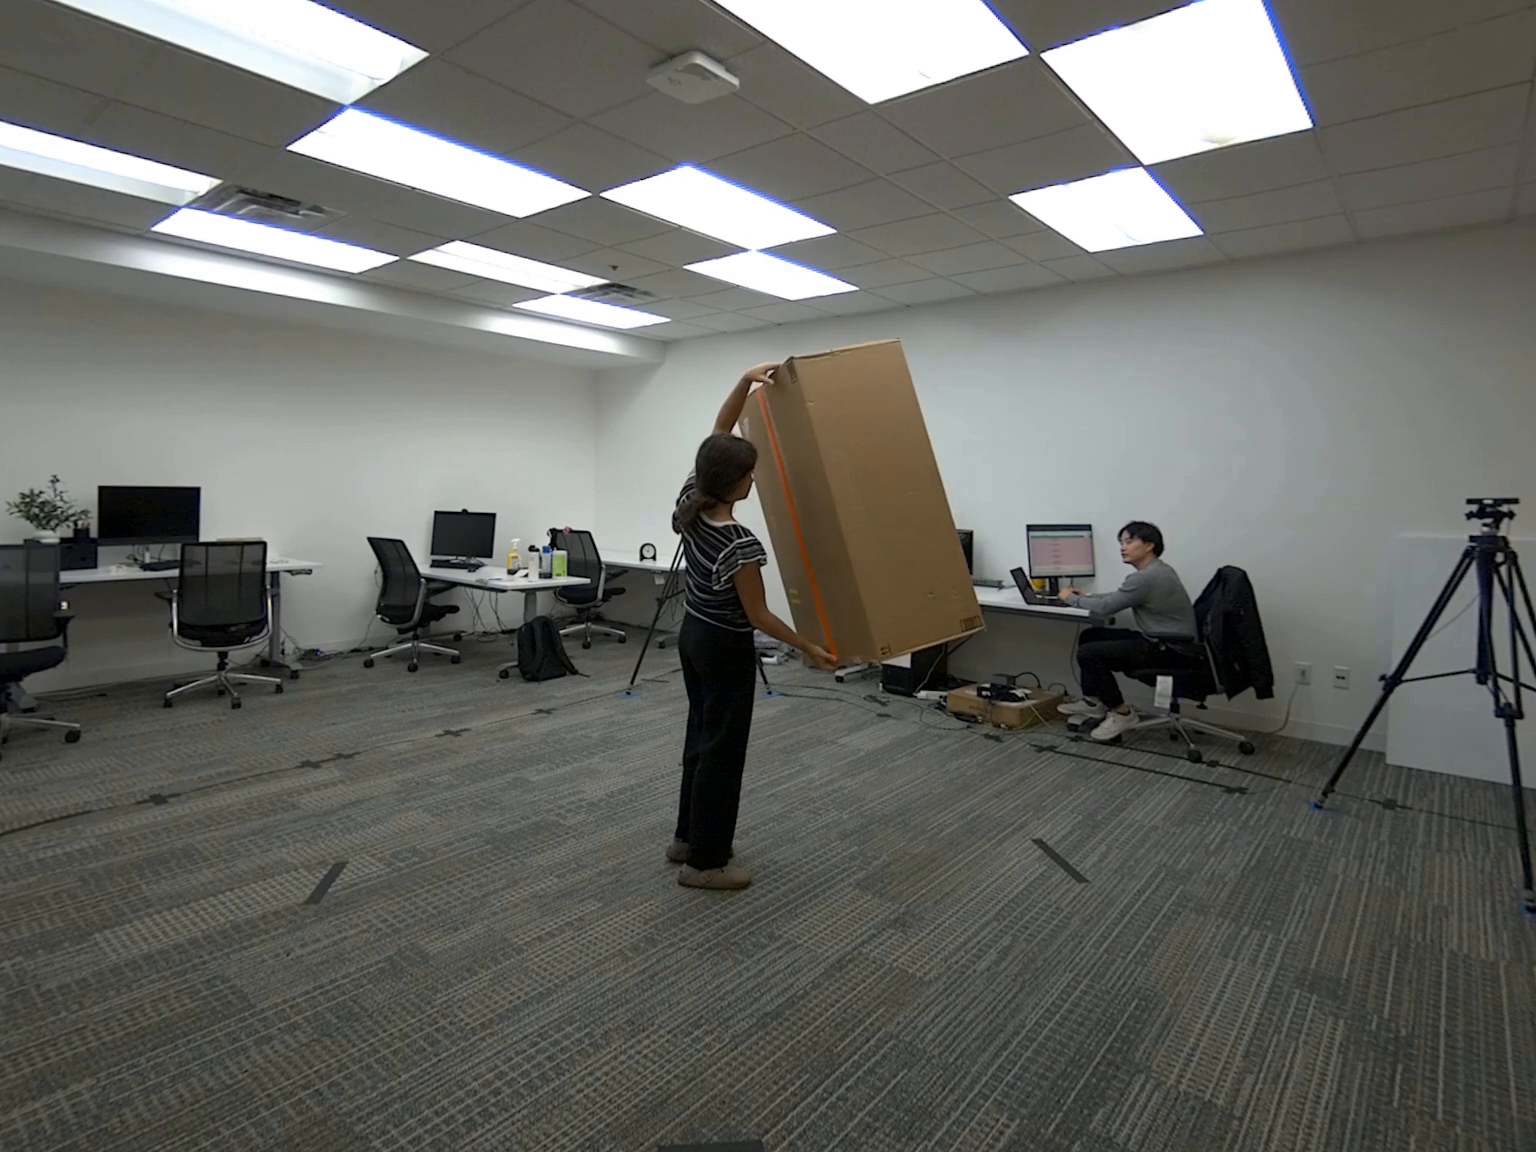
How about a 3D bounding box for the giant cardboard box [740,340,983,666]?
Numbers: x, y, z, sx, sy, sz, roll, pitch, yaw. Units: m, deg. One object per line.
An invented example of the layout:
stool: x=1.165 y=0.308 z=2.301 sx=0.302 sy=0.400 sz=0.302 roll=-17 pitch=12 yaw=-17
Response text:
giant cardboard box: x=0.285 y=-0.236 z=3.042 sx=0.419 sy=1.033 sz=0.583 roll=-13 pitch=-5 yaw=-21
